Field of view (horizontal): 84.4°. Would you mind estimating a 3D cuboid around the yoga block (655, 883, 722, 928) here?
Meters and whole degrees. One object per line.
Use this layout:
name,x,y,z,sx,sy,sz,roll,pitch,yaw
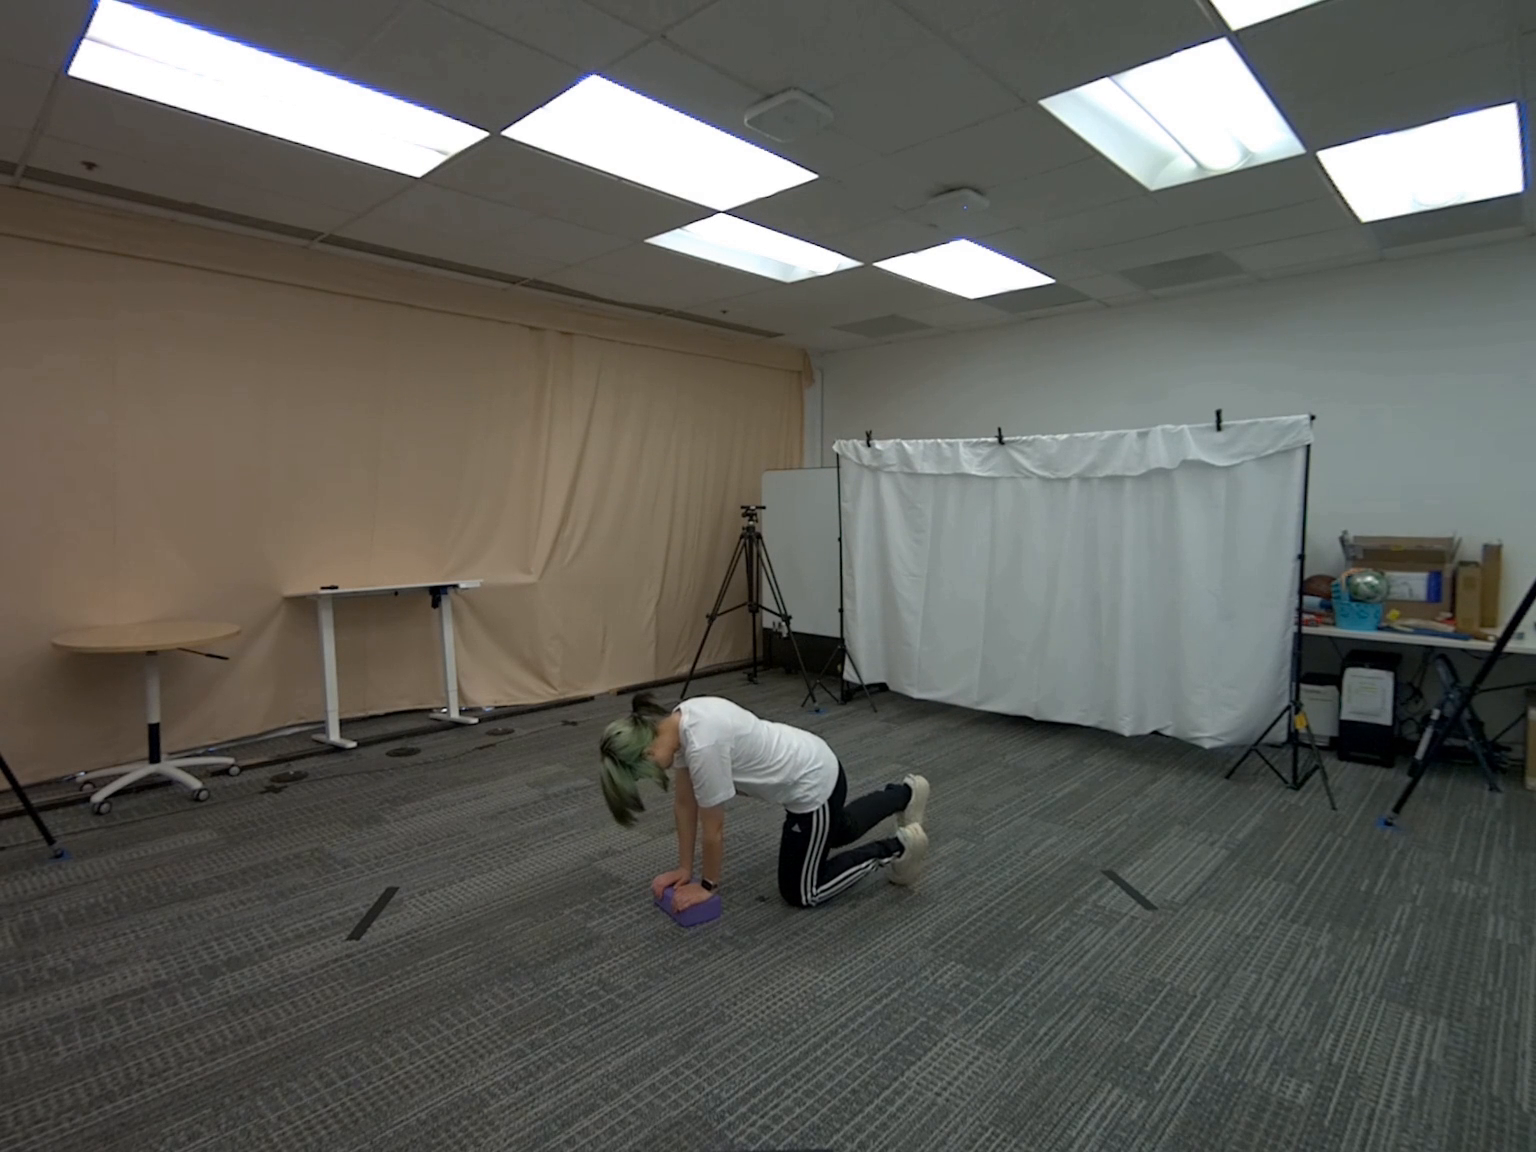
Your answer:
yoga block,-0.280,1.118,2.901,0.145,0.076,0.236,-4,5,-33
